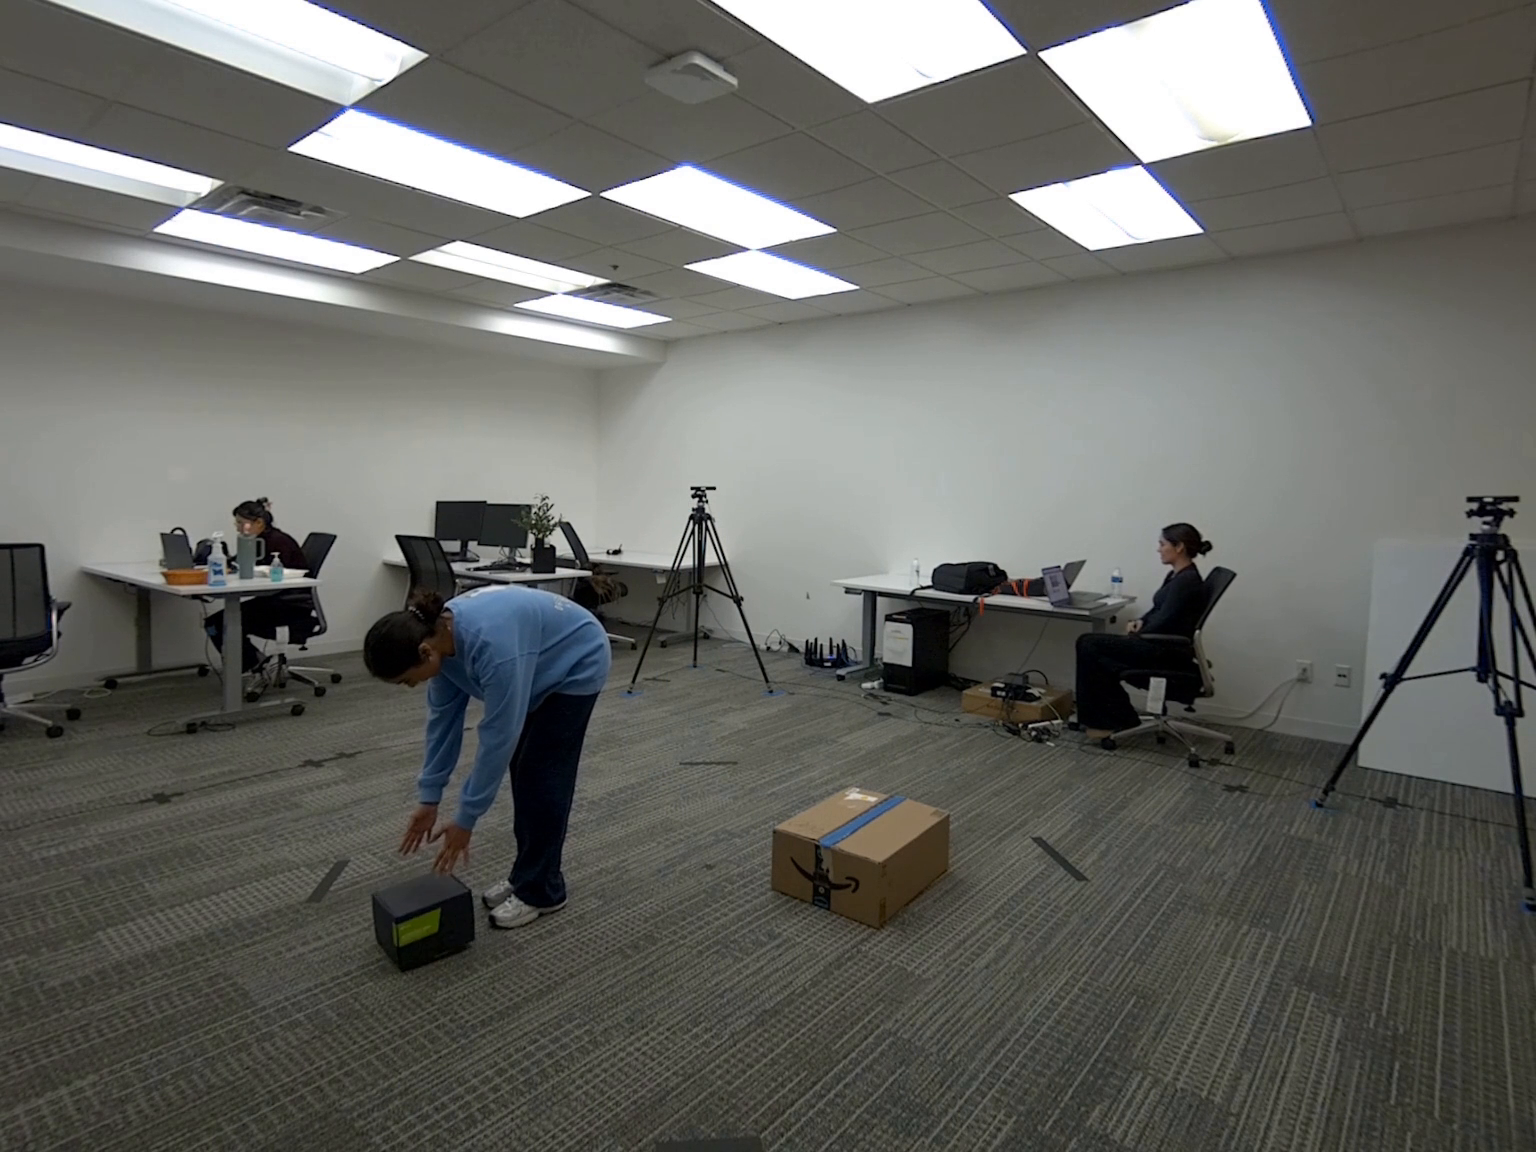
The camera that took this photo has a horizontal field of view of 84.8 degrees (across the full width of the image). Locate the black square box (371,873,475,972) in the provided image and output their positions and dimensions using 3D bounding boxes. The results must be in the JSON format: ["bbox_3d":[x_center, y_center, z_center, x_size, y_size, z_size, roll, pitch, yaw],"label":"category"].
[{"bbox_3d":[-1.047,1.013,2.556,0.221,0.155,0.224,-7,8,-42],"label":"black square box"}]
